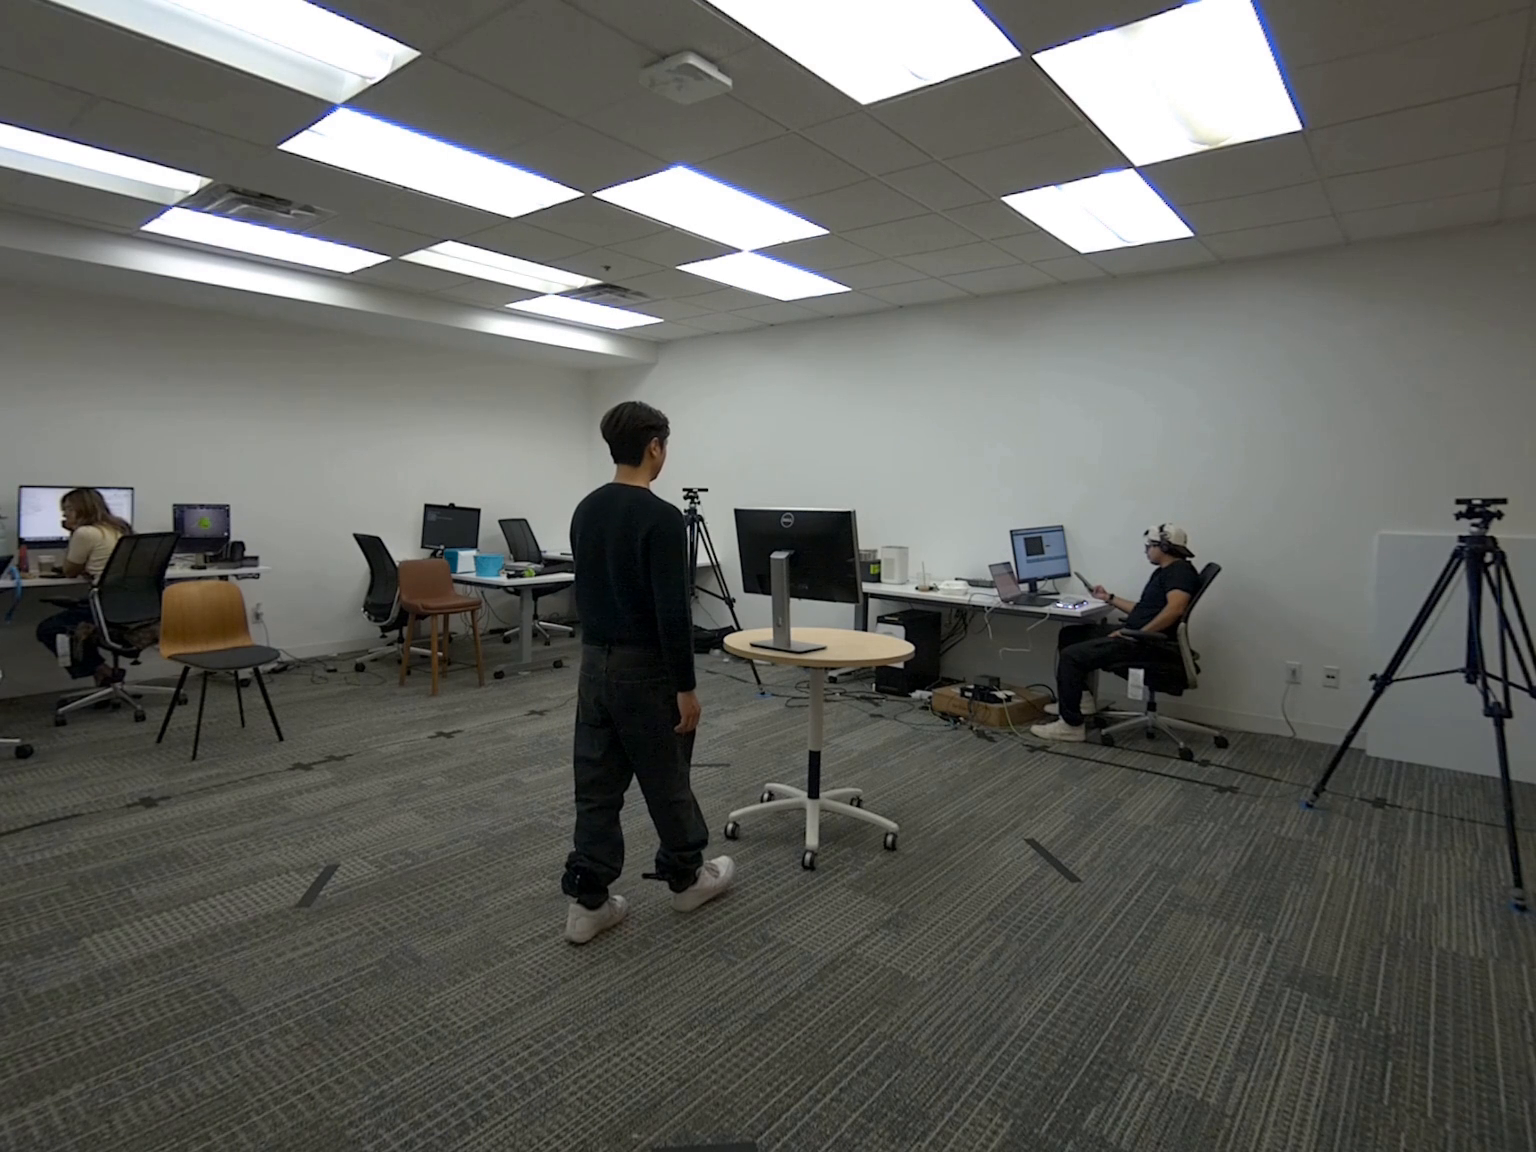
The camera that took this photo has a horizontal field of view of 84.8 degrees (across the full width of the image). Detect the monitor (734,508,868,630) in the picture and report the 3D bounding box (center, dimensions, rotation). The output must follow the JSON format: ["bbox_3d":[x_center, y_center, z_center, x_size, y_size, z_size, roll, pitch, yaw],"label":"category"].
[{"bbox_3d":[0.074,0.010,3.304,0.556,0.521,0.181,4,3,36],"label":"monitor"}]
